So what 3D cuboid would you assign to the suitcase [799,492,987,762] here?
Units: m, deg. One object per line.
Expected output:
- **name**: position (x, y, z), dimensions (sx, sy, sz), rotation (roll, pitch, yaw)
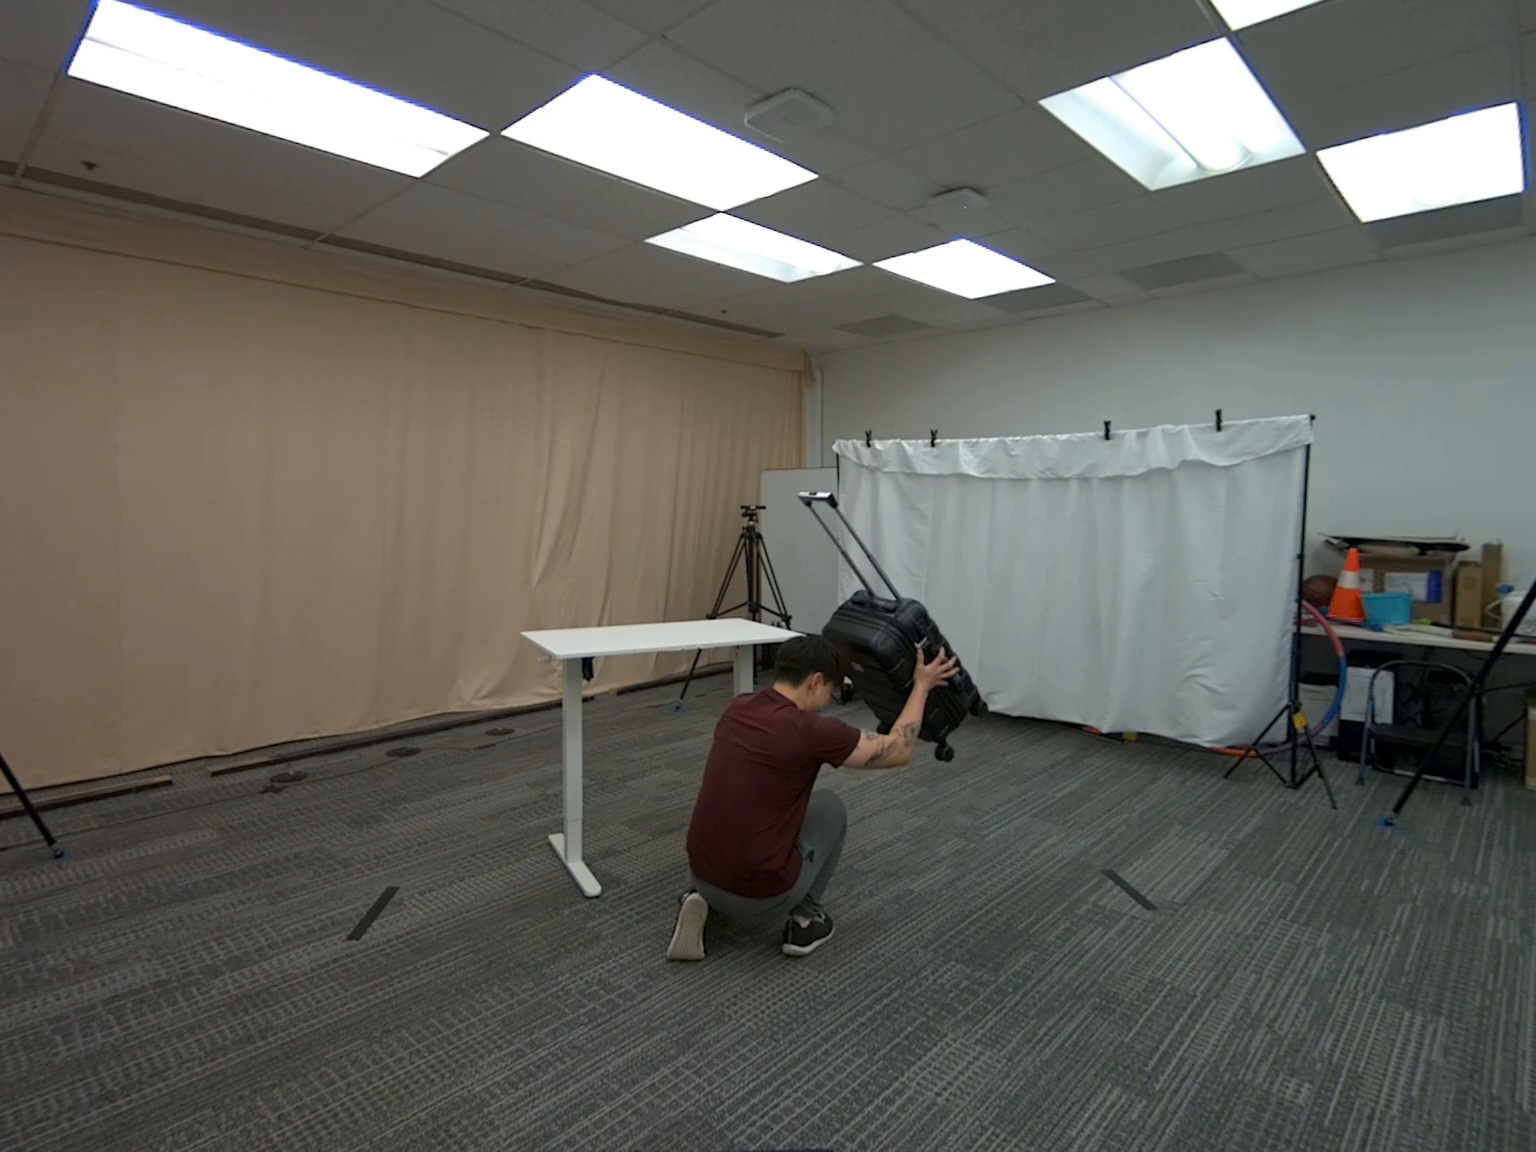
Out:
- **suitcase**: position (0.350, 0.168, 2.808), dimensions (0.255, 0.955, 0.396), rotation (-44, 24, -18)
